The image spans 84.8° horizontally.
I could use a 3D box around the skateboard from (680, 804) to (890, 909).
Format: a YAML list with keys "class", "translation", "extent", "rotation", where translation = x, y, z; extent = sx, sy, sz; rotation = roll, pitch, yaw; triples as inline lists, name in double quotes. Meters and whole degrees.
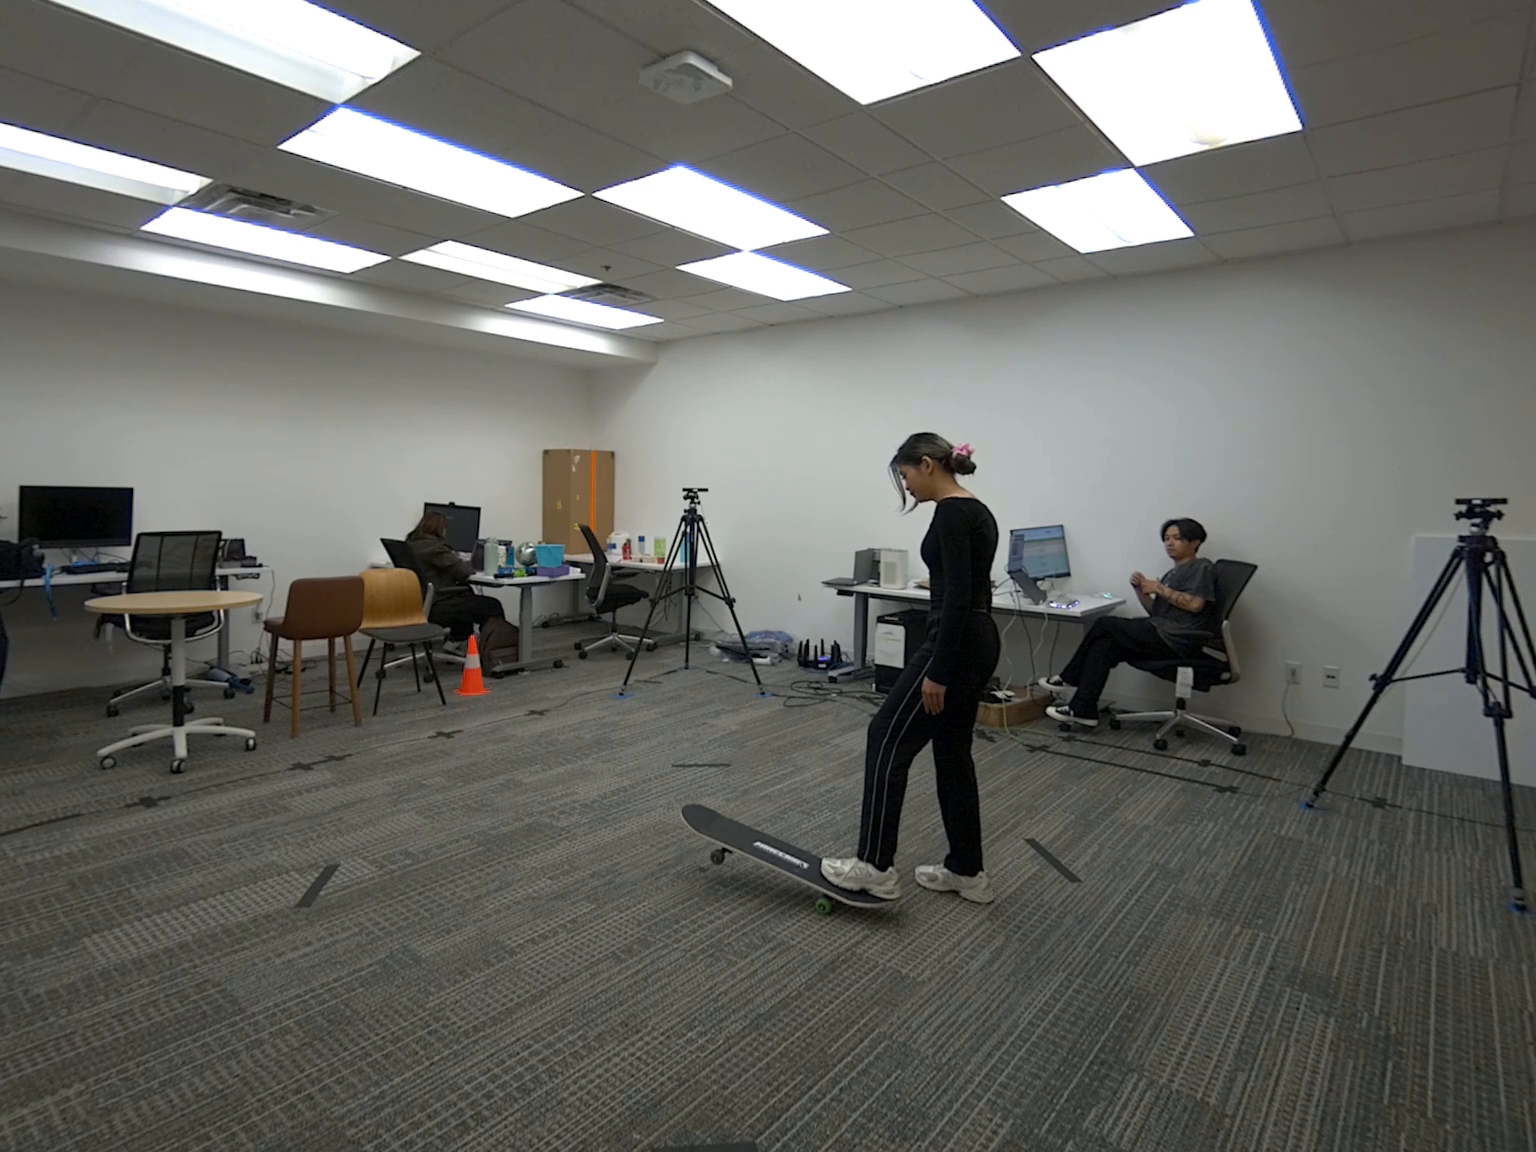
- class: "skateboard"
  translation: [0.028, 1.006, 2.954]
  extent: [0.808, 0.109, 0.189]
  rotation: [16, 10, 23]
